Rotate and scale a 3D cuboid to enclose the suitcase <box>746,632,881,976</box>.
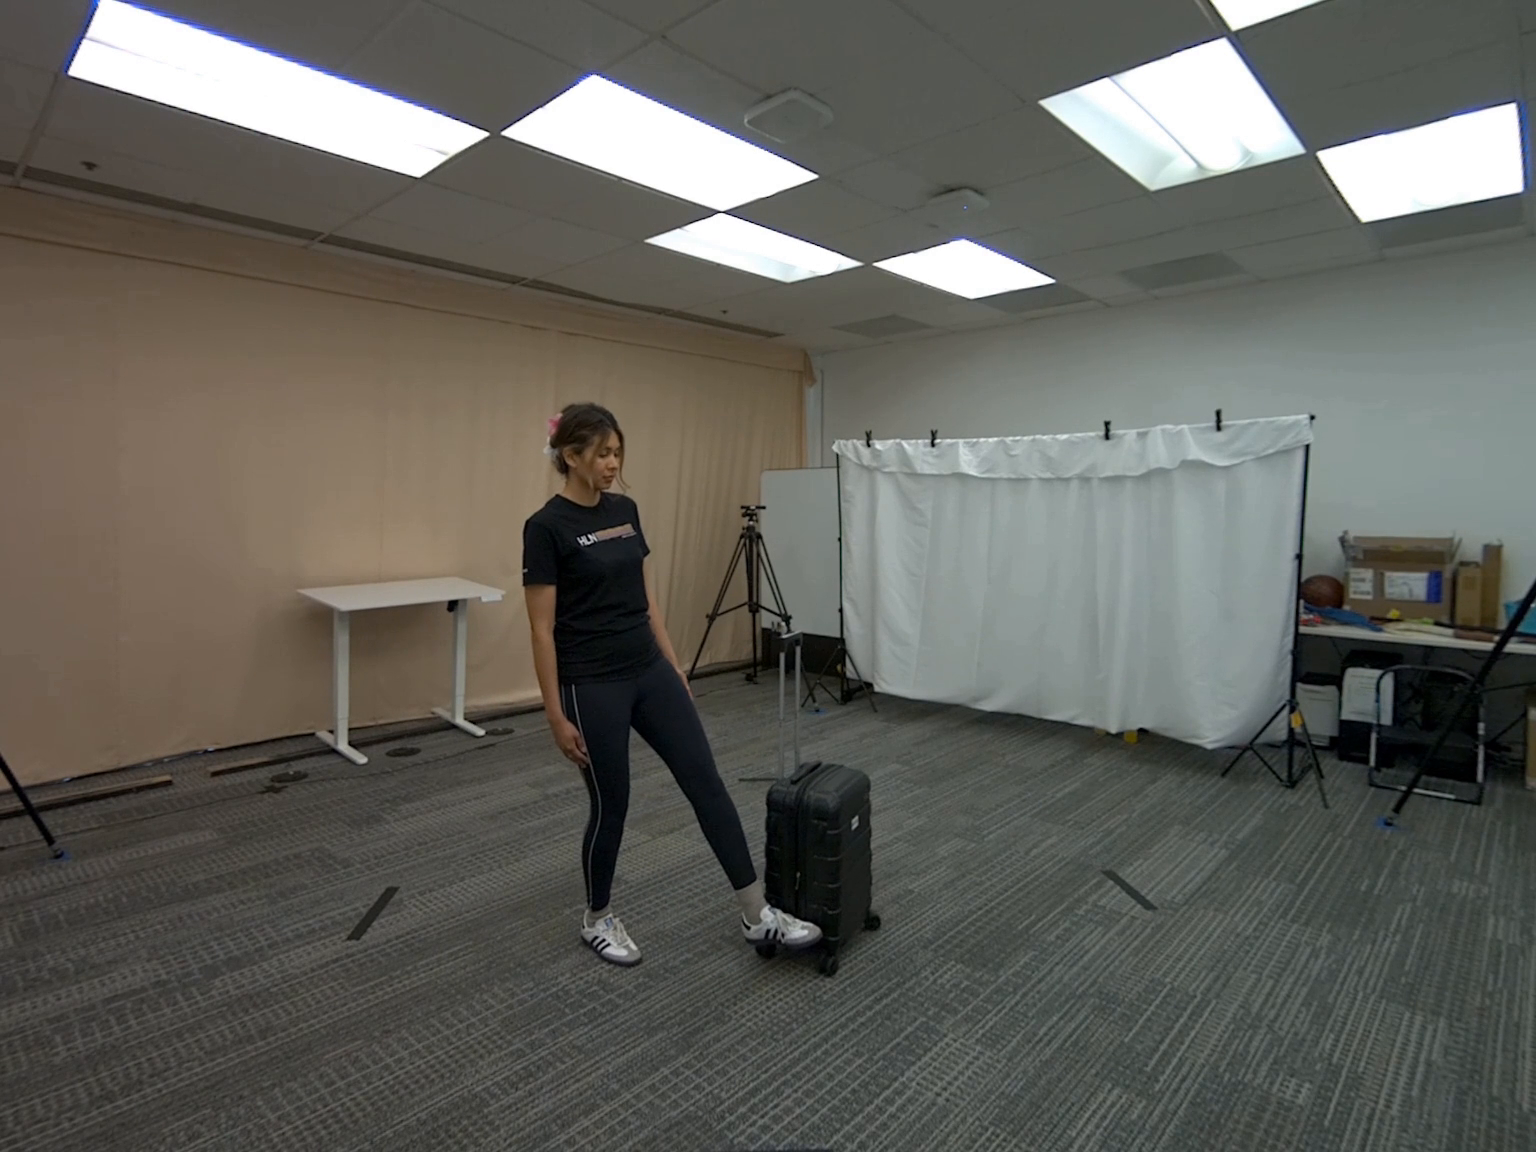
[{"bbox_3d":[0.176,0.694,2.672,0.264,0.977,0.374,4,3,26],"label":"suitcase"}]
